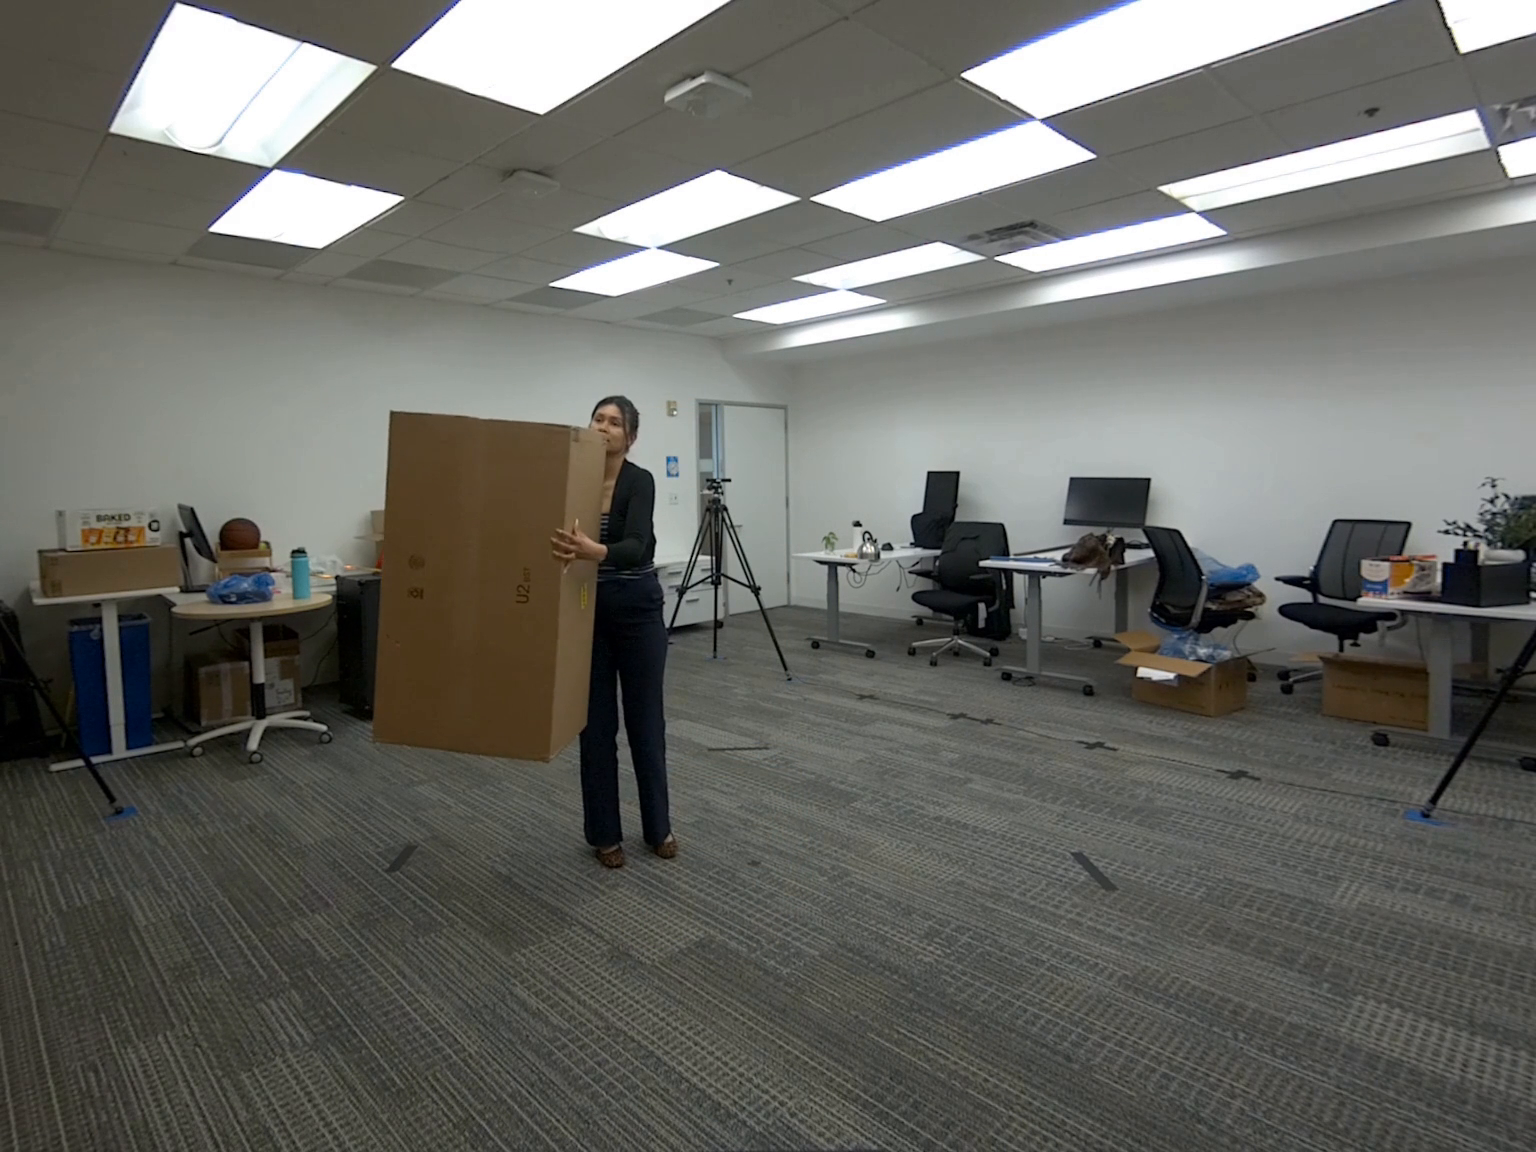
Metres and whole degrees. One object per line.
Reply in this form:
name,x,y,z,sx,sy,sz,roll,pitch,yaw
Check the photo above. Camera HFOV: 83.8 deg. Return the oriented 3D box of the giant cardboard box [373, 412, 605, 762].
giant cardboard box,-0.884,0.015,2.785,0.581,1.023,0.425,5,3,5
